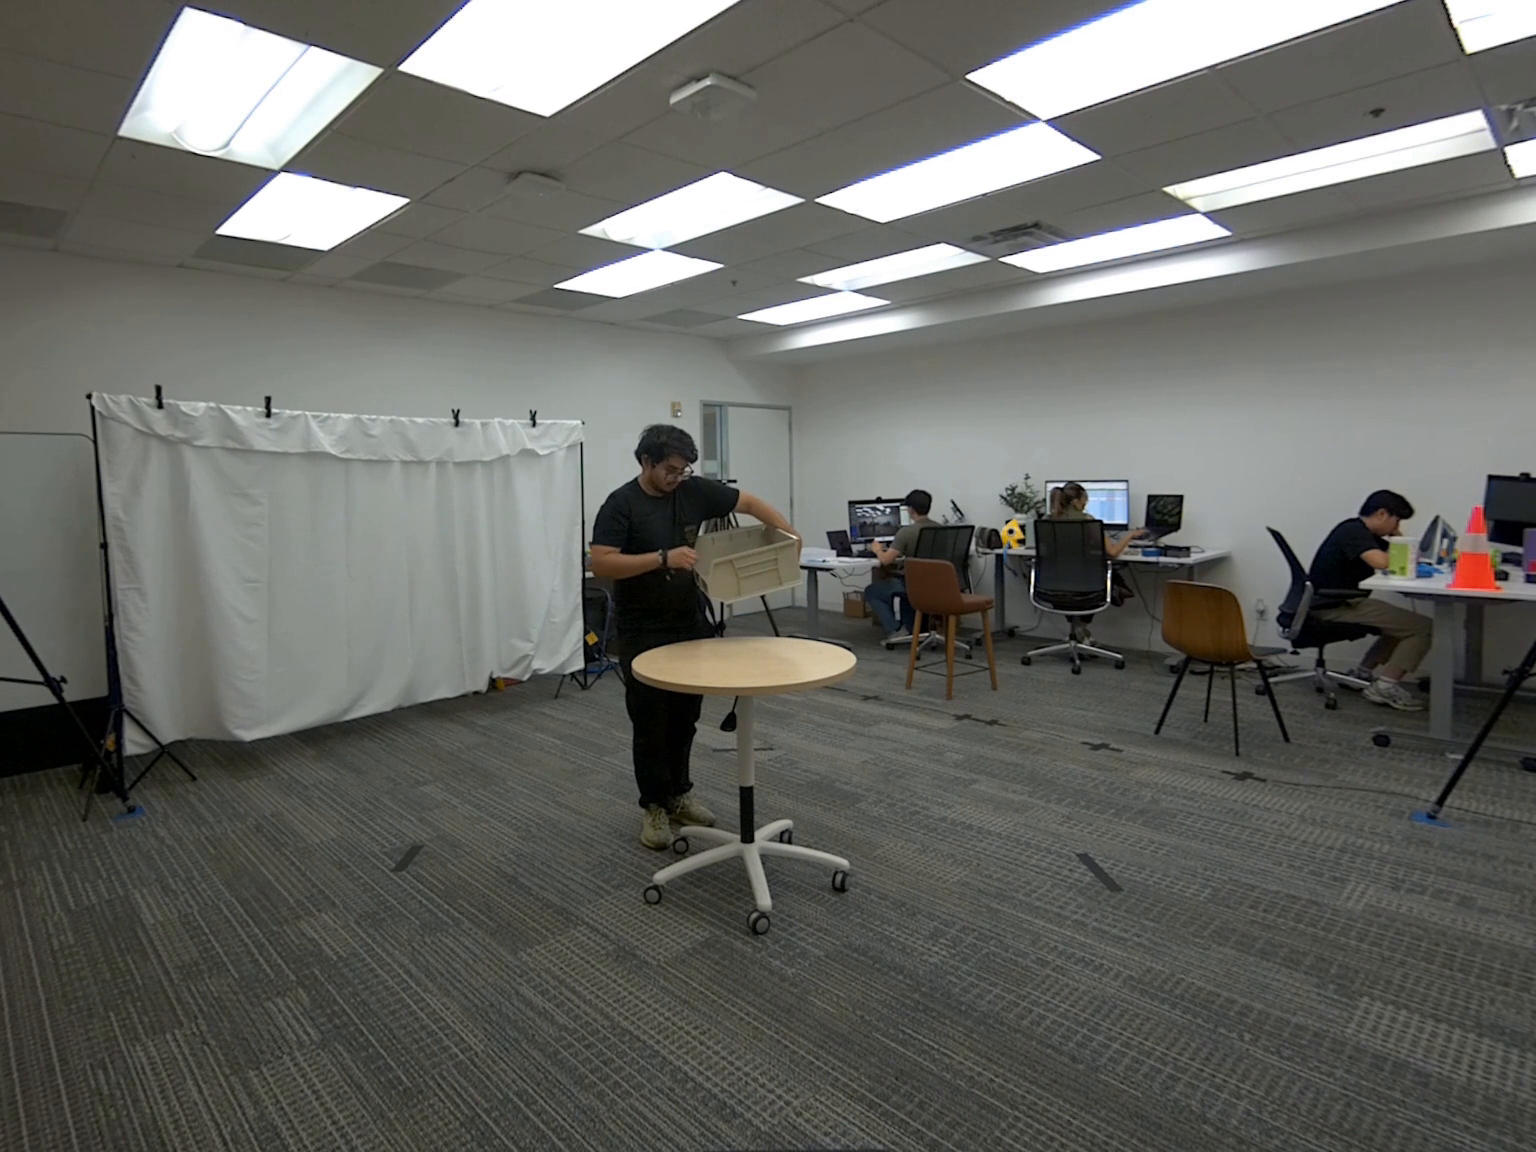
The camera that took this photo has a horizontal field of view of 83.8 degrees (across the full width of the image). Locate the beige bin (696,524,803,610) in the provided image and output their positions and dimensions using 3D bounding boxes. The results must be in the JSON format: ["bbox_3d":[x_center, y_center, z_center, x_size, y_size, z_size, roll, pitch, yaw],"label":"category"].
[{"bbox_3d":[-0.111,-0.051,3.361,0.373,0.186,0.432,-13,14,-14],"label":"beige bin"}]
